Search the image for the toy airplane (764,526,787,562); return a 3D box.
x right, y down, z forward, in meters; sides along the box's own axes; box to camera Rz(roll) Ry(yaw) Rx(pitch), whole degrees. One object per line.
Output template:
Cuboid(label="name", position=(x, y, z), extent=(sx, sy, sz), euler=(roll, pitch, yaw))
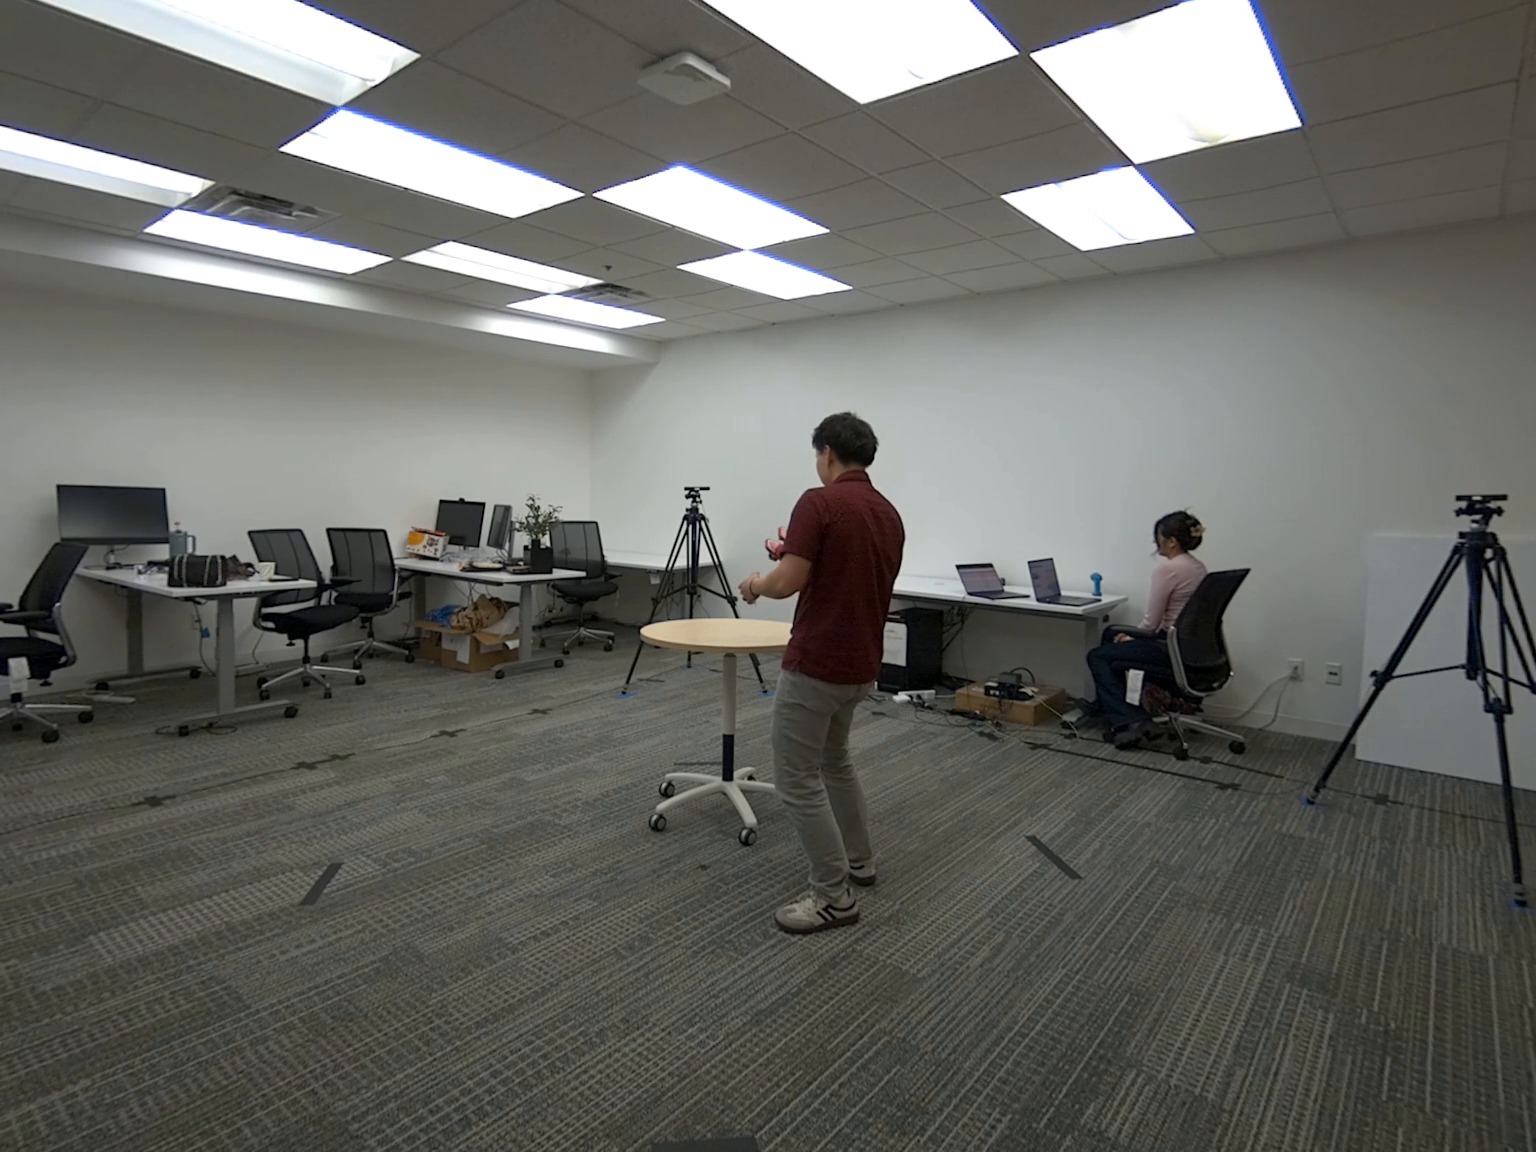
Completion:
Cuboid(label="toy airplane", position=(0.112, -0.053, 3.266), extent=(0.242, 0.156, 0.269), euler=(14, 31, -51))
